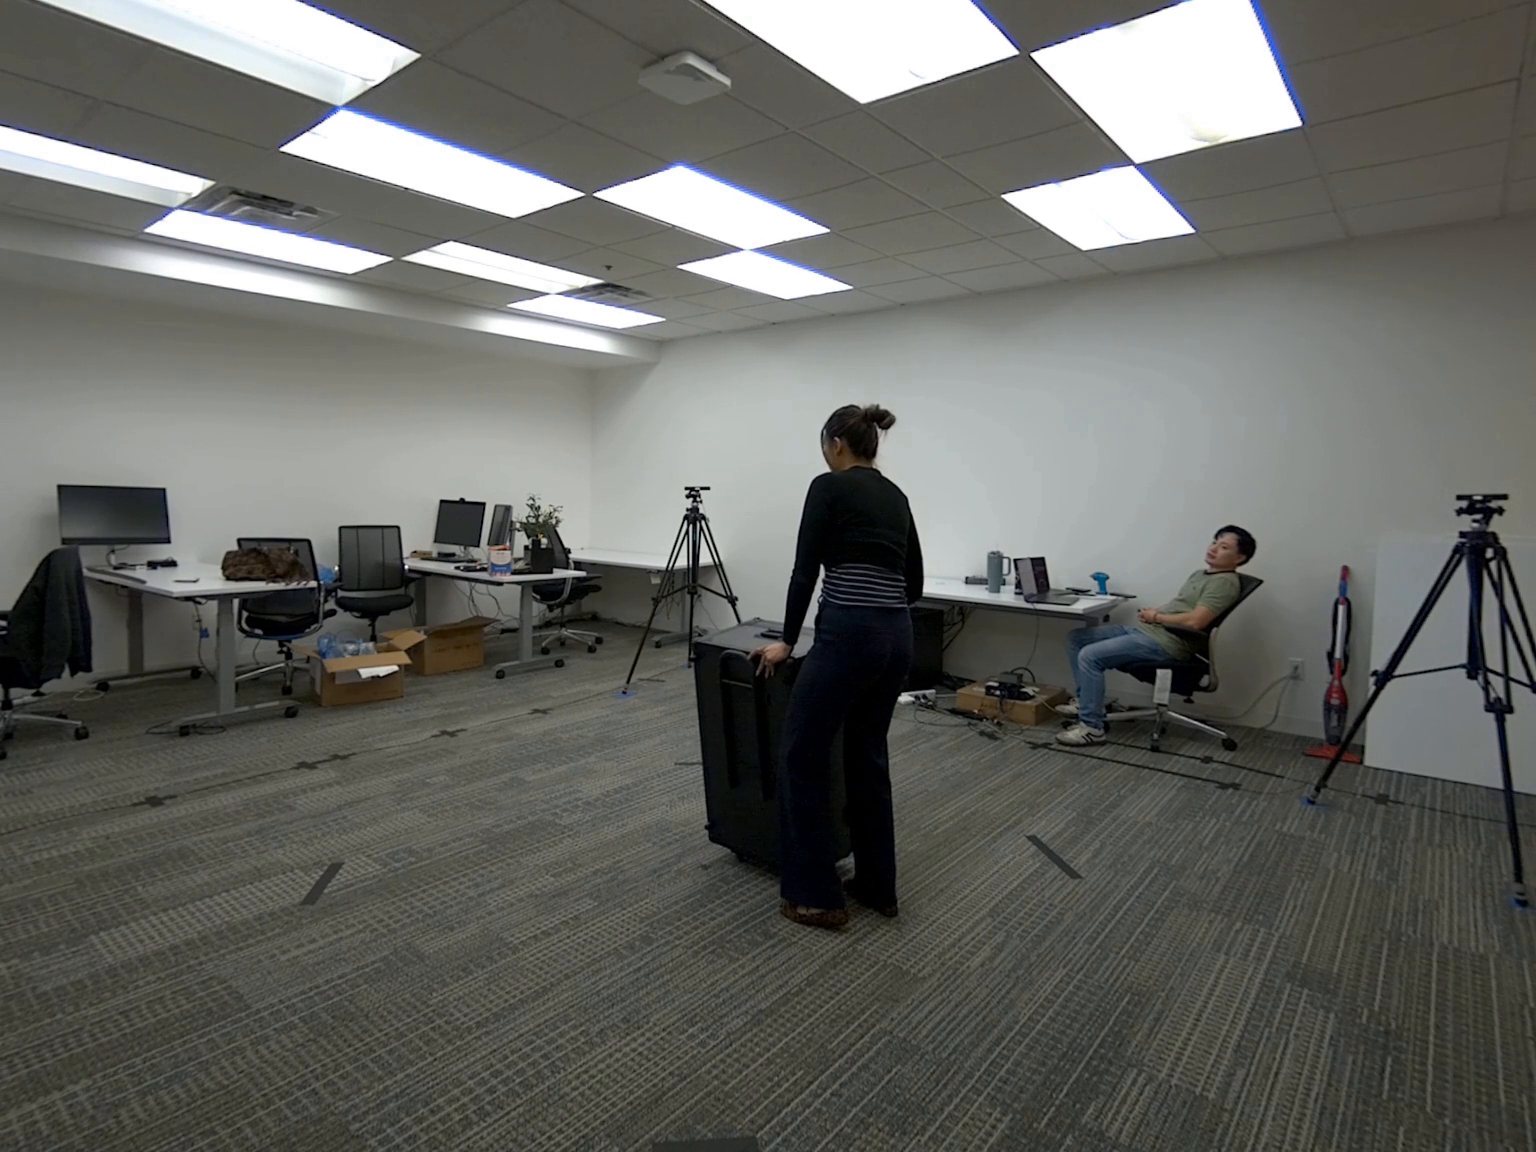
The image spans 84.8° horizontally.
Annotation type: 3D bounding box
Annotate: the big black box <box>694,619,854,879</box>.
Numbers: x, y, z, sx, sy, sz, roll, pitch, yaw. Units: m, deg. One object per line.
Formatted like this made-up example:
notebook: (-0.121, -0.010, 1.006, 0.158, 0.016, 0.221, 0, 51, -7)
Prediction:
big black box: (0.012, 0.578, 3.099, 0.539, 0.854, 0.386, 5, 12, 44)
